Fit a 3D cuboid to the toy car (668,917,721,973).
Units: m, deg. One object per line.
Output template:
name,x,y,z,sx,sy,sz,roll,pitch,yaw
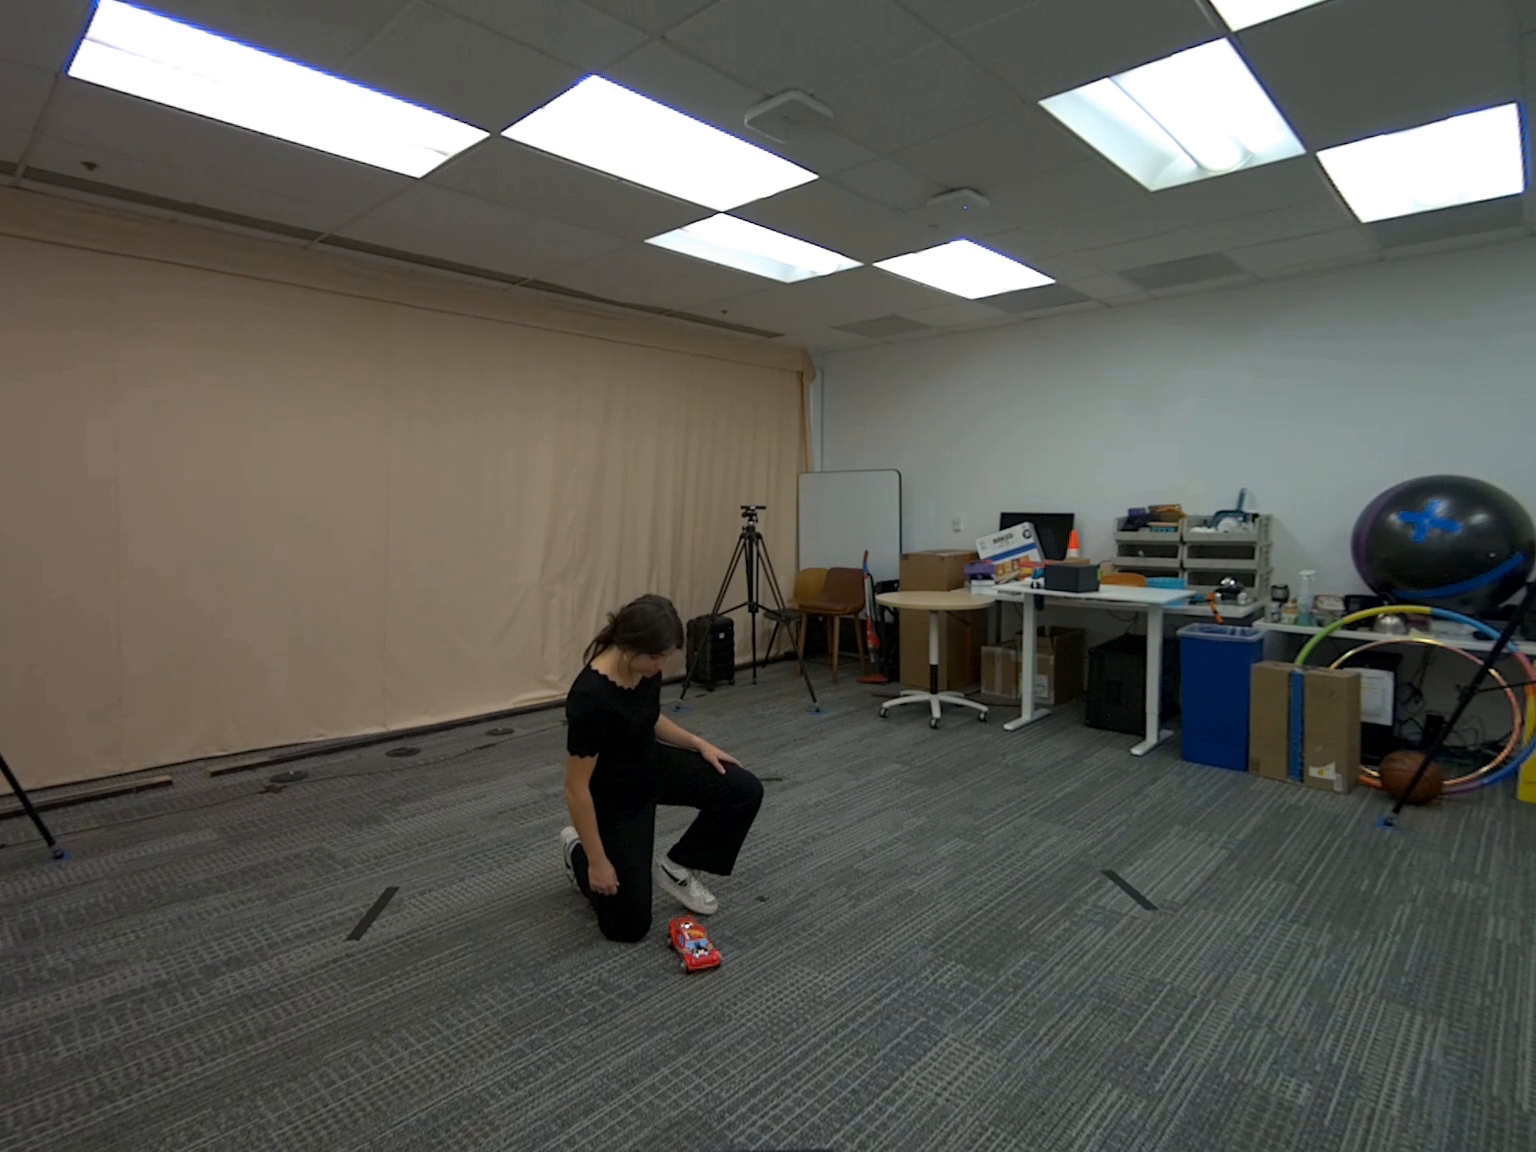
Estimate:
toy car,-0.235,1.141,2.618,0.128,0.082,0.261,-2,15,-20
